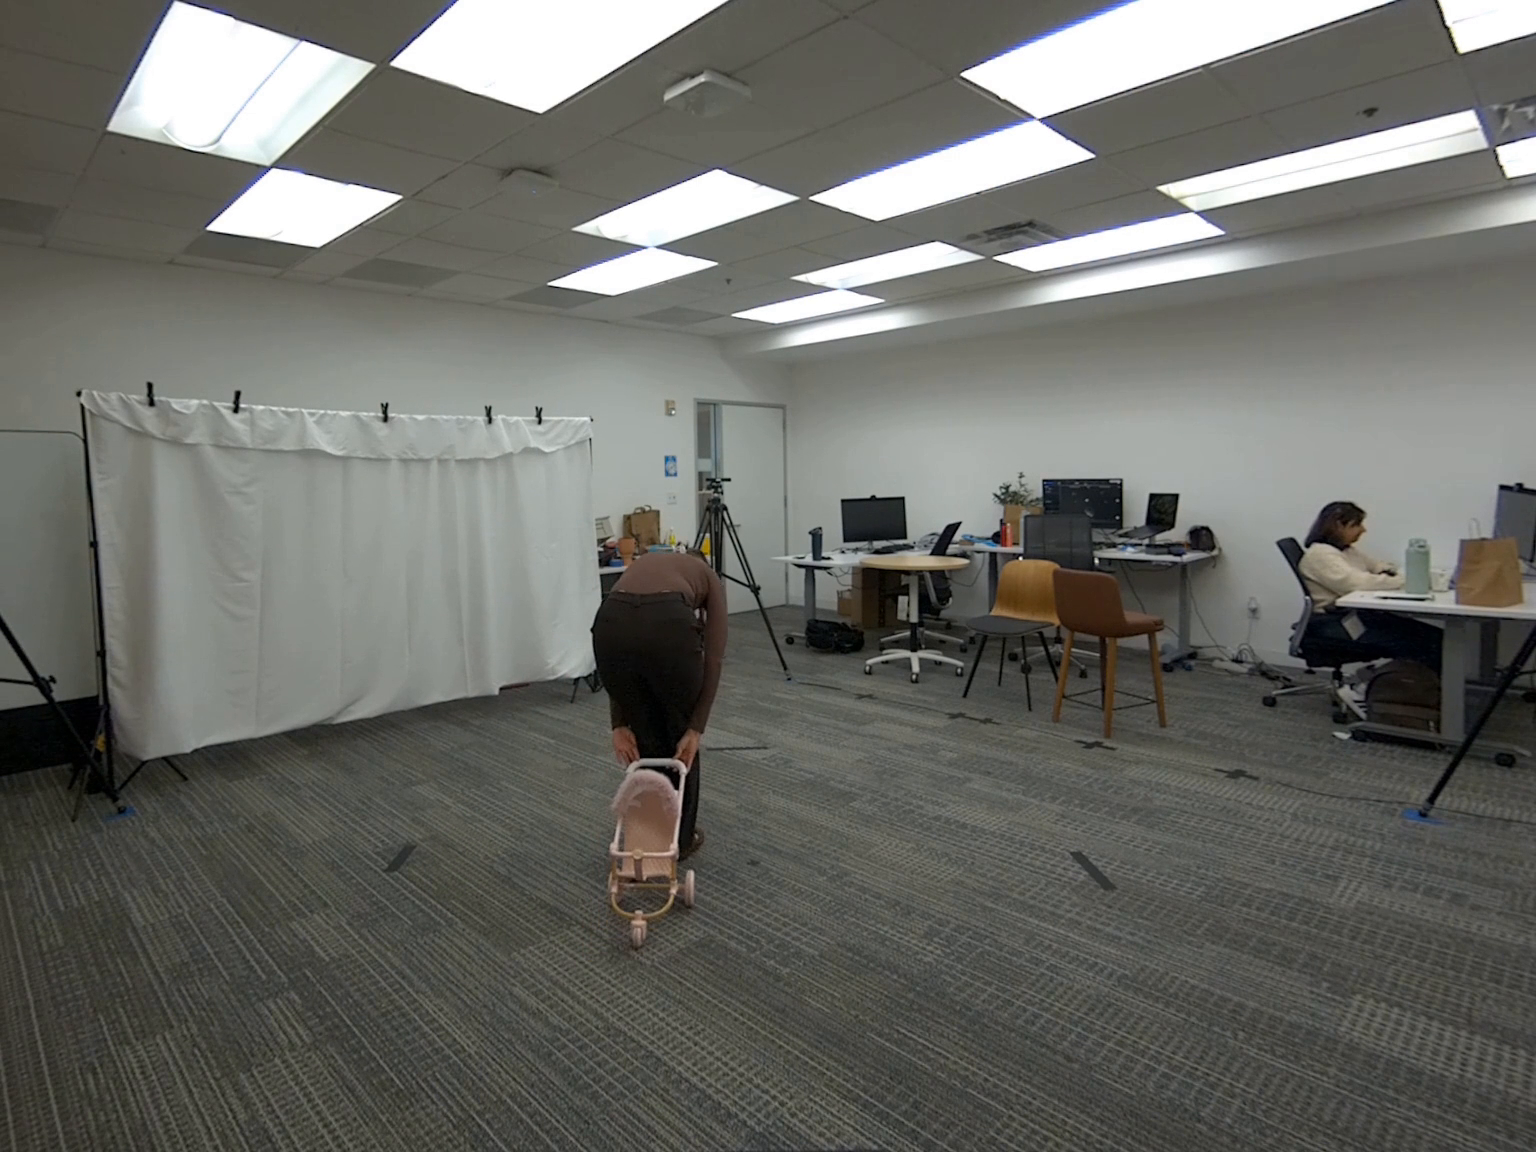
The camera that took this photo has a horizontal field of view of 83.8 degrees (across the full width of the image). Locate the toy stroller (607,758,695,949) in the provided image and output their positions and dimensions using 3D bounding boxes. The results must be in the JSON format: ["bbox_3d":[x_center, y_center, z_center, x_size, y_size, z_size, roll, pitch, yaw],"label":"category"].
[{"bbox_3d":[-0.392,0.872,2.745,0.284,0.540,0.335,-1,-11,8],"label":"toy stroller"}]
